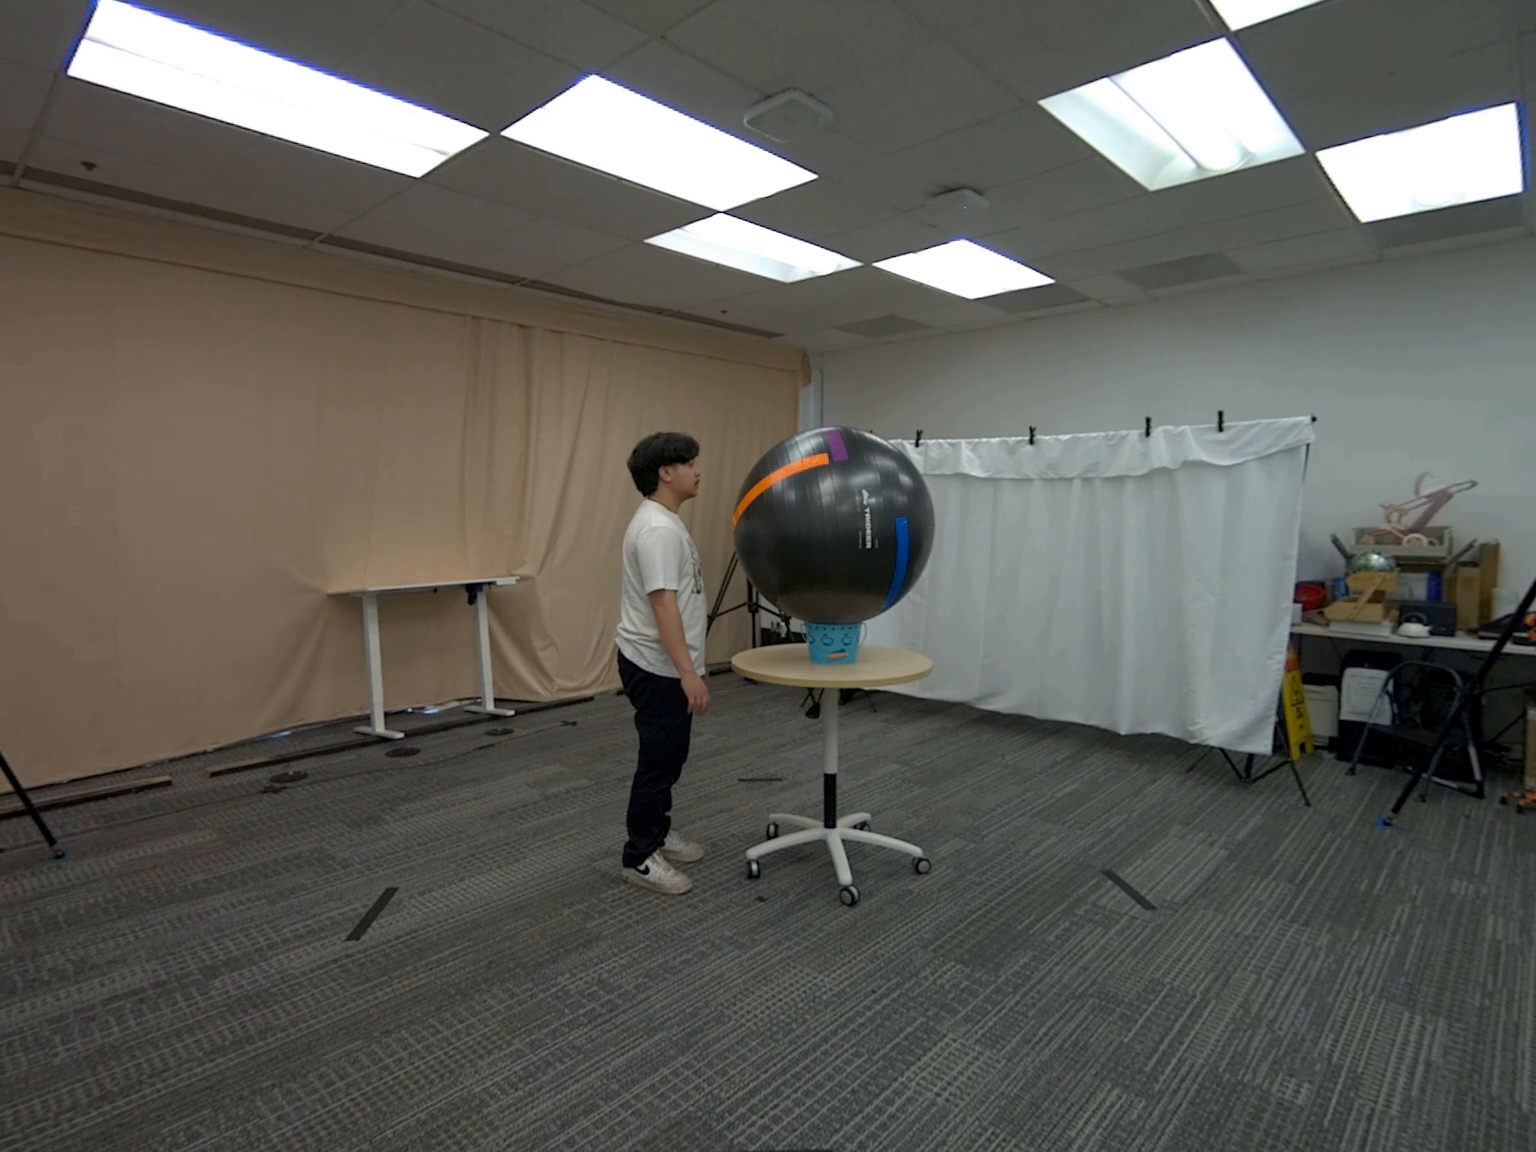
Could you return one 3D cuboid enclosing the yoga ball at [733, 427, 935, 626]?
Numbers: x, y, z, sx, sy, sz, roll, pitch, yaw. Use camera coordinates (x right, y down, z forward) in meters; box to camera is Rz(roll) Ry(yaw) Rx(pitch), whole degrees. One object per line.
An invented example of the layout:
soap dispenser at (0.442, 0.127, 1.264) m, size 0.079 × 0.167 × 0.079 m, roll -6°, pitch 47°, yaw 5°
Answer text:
yoga ball at (0.253, -0.185, 3.221) m, size 0.757 × 0.756 × 0.760 m, roll 0°, pitch 4°, yaw -2°
